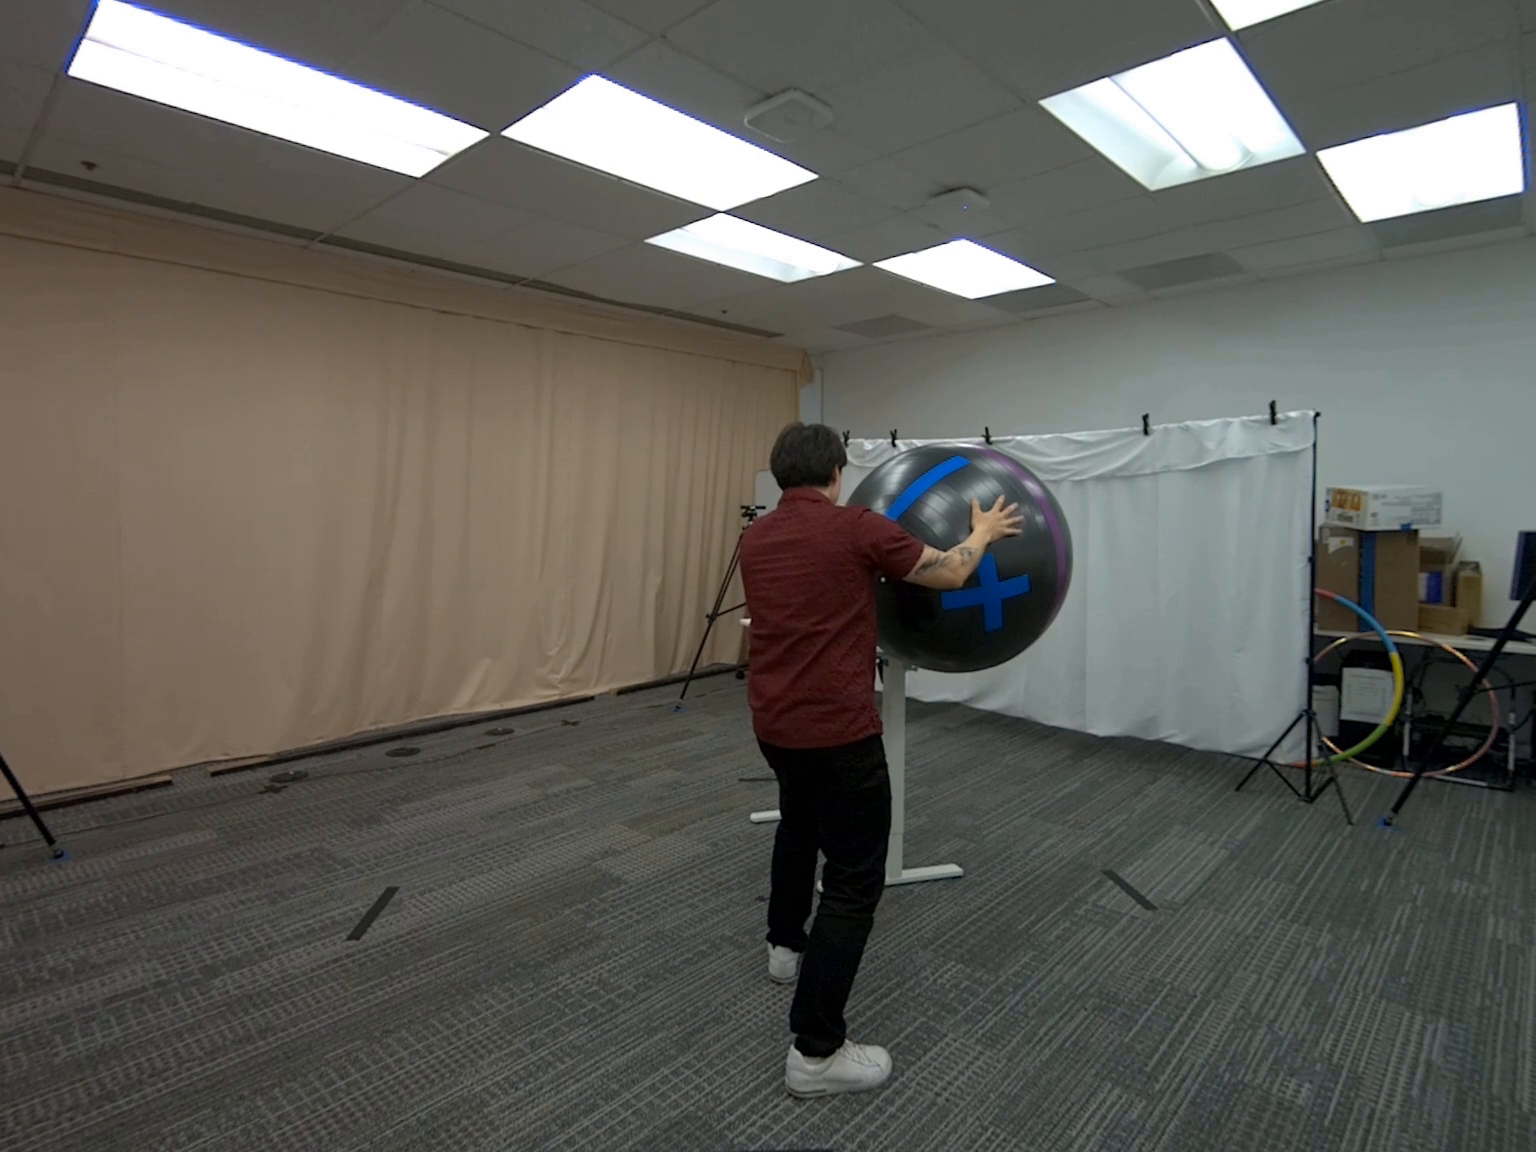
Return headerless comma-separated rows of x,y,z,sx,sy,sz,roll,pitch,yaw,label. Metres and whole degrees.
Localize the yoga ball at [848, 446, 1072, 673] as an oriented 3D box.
0.613,-0.056,2.795,0.757,0.756,0.760,0,4,-2,yoga ball
